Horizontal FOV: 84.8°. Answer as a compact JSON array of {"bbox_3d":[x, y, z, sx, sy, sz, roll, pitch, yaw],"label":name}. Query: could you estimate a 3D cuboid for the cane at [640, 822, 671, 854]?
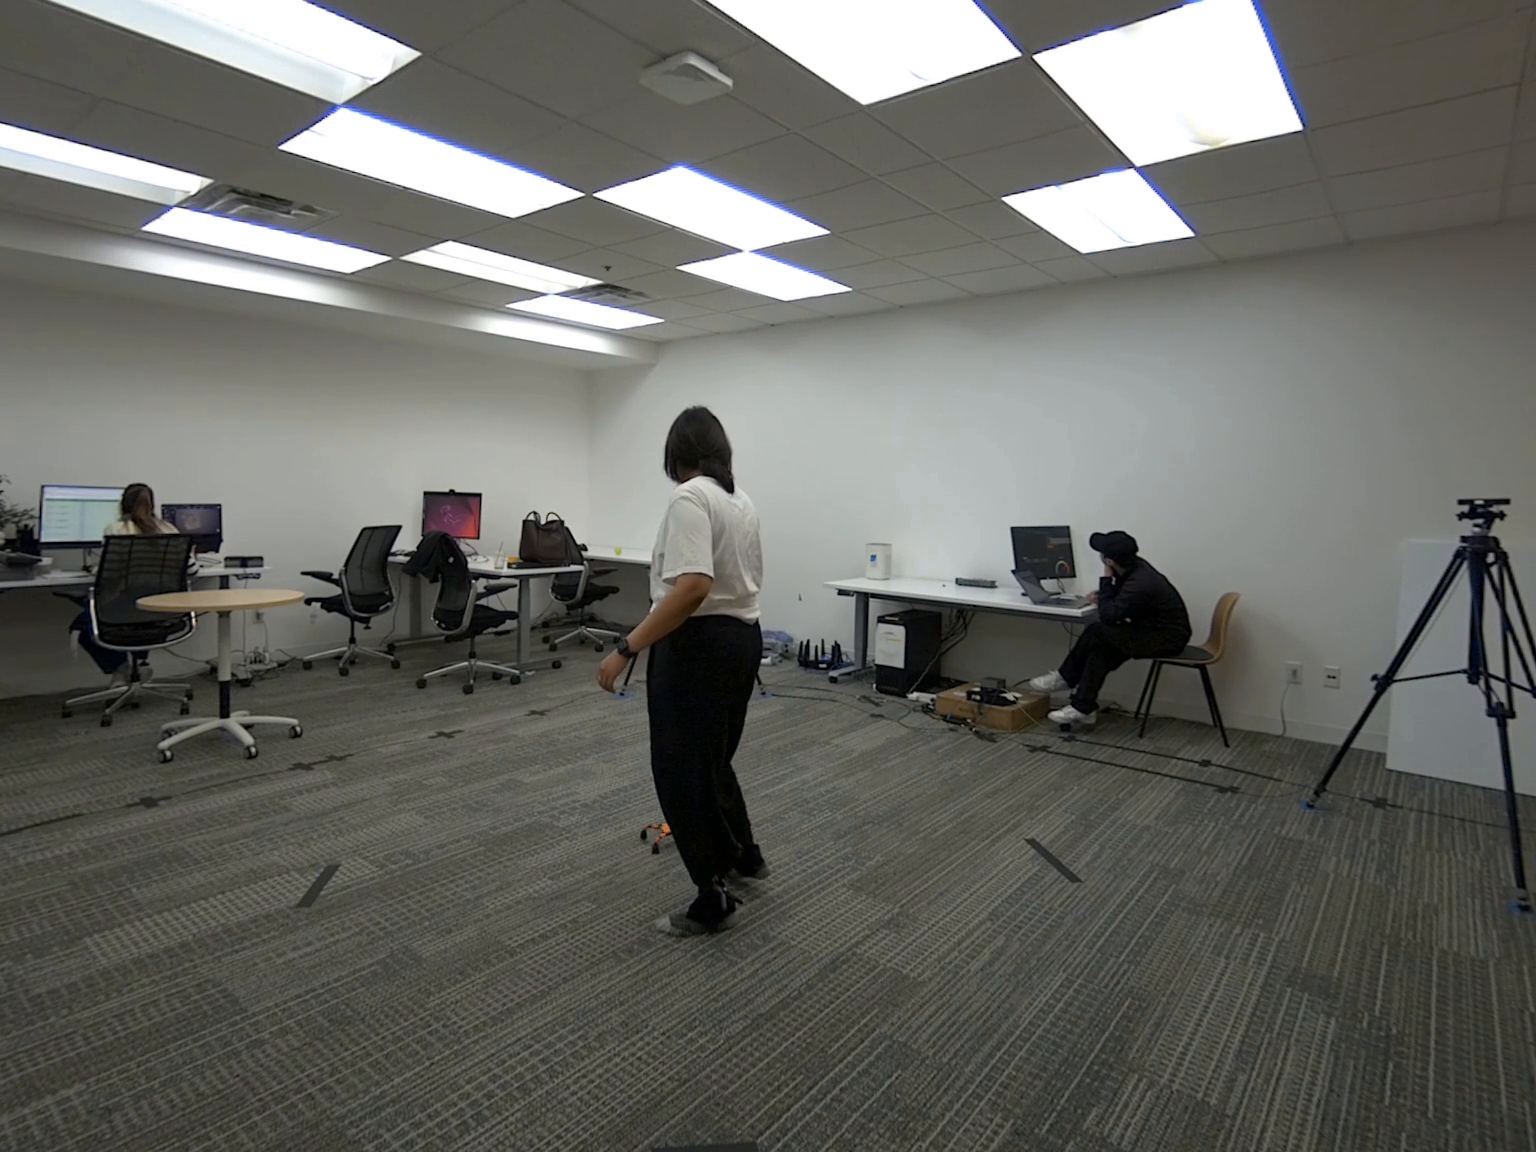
[{"bbox_3d":[-0.362,0.590,3.281,0.201,0.902,0.157,0,8,-30],"label":"cane"}]
